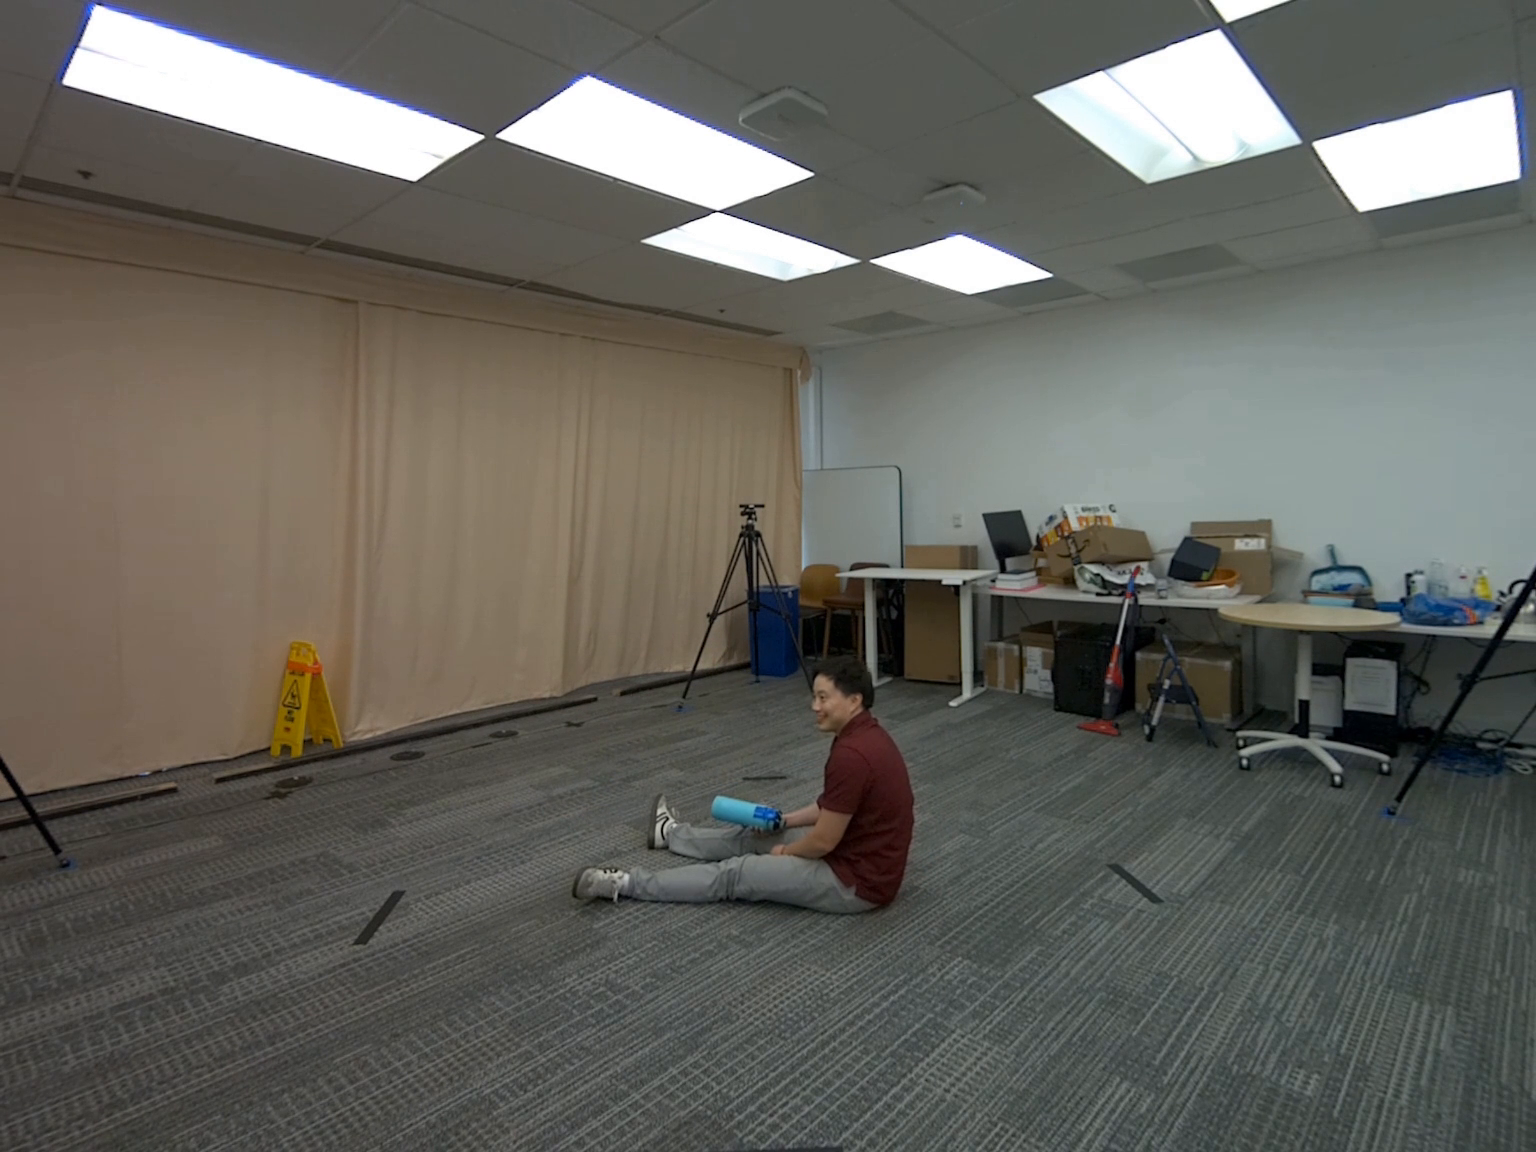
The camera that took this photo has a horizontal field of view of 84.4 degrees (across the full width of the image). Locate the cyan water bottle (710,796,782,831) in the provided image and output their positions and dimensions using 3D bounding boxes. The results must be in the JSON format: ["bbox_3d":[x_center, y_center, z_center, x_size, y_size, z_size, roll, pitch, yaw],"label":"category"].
[{"bbox_3d":[-0.072,0.906,3.202,0.291,0.092,0.090,4,6,25],"label":"cyan water bottle"}]
